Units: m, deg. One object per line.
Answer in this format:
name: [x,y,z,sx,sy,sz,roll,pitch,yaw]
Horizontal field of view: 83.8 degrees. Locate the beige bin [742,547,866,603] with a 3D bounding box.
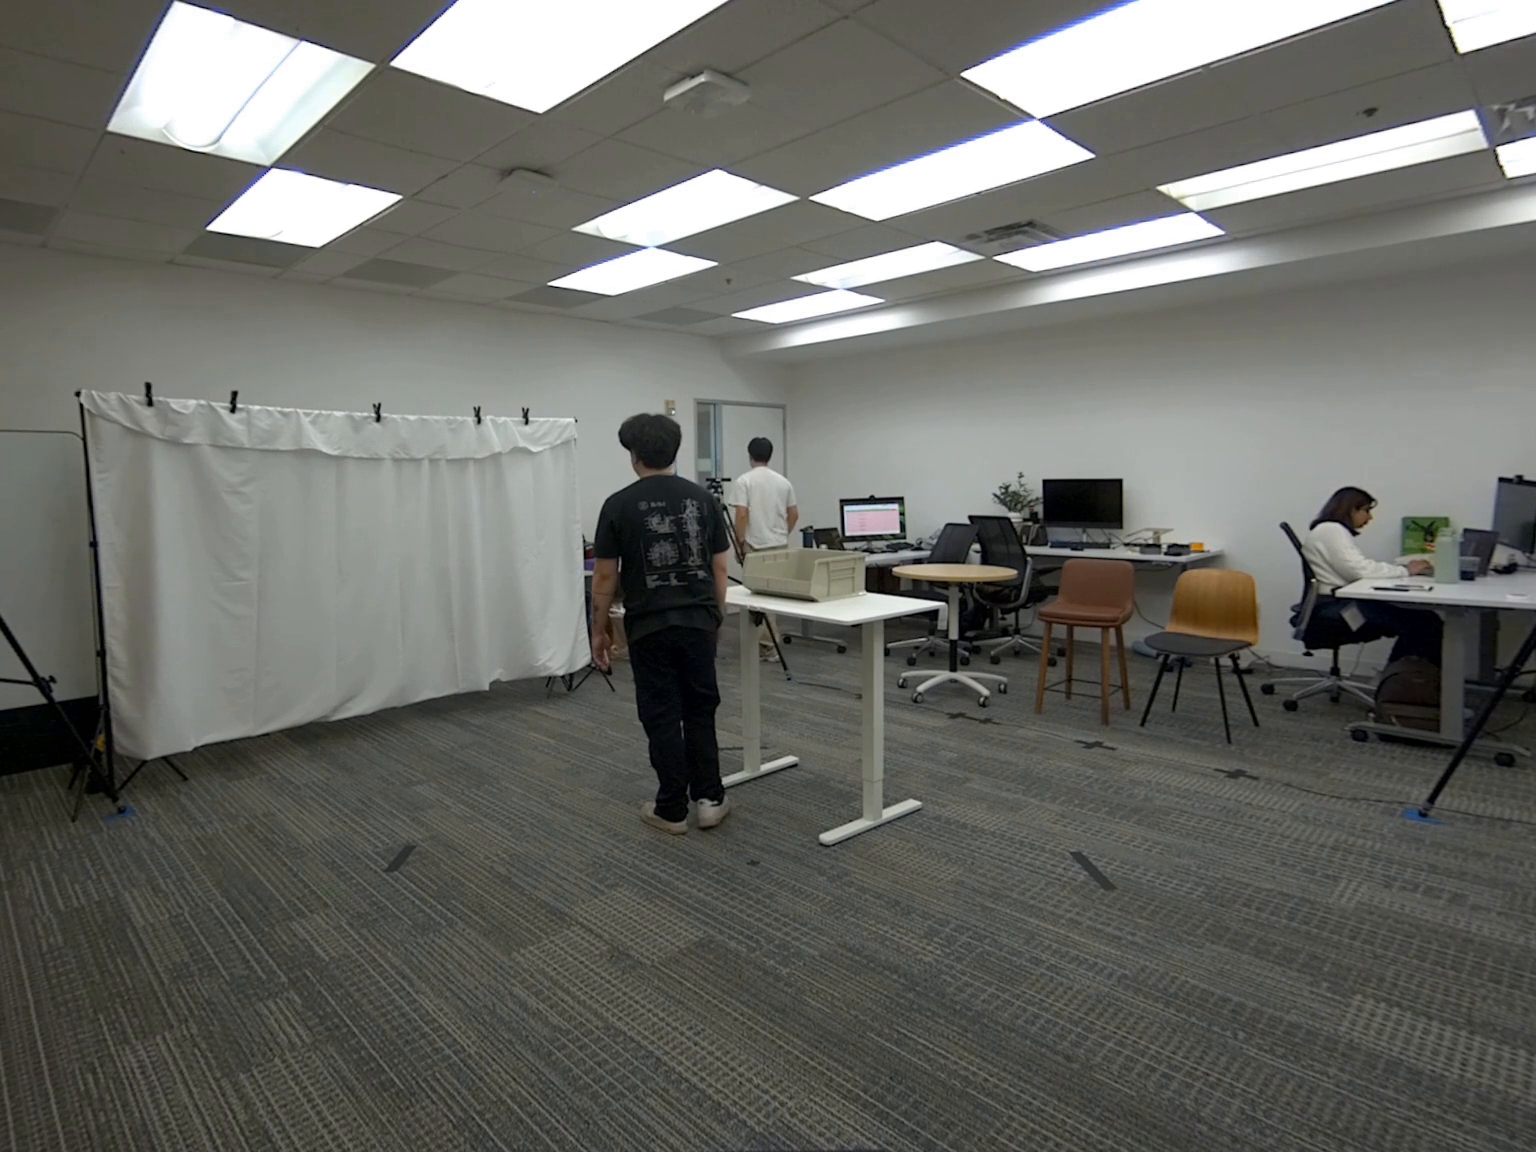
beige bin: [0.166,-0.007,3.748,0.367,0.188,0.435,-6,8,-43]
